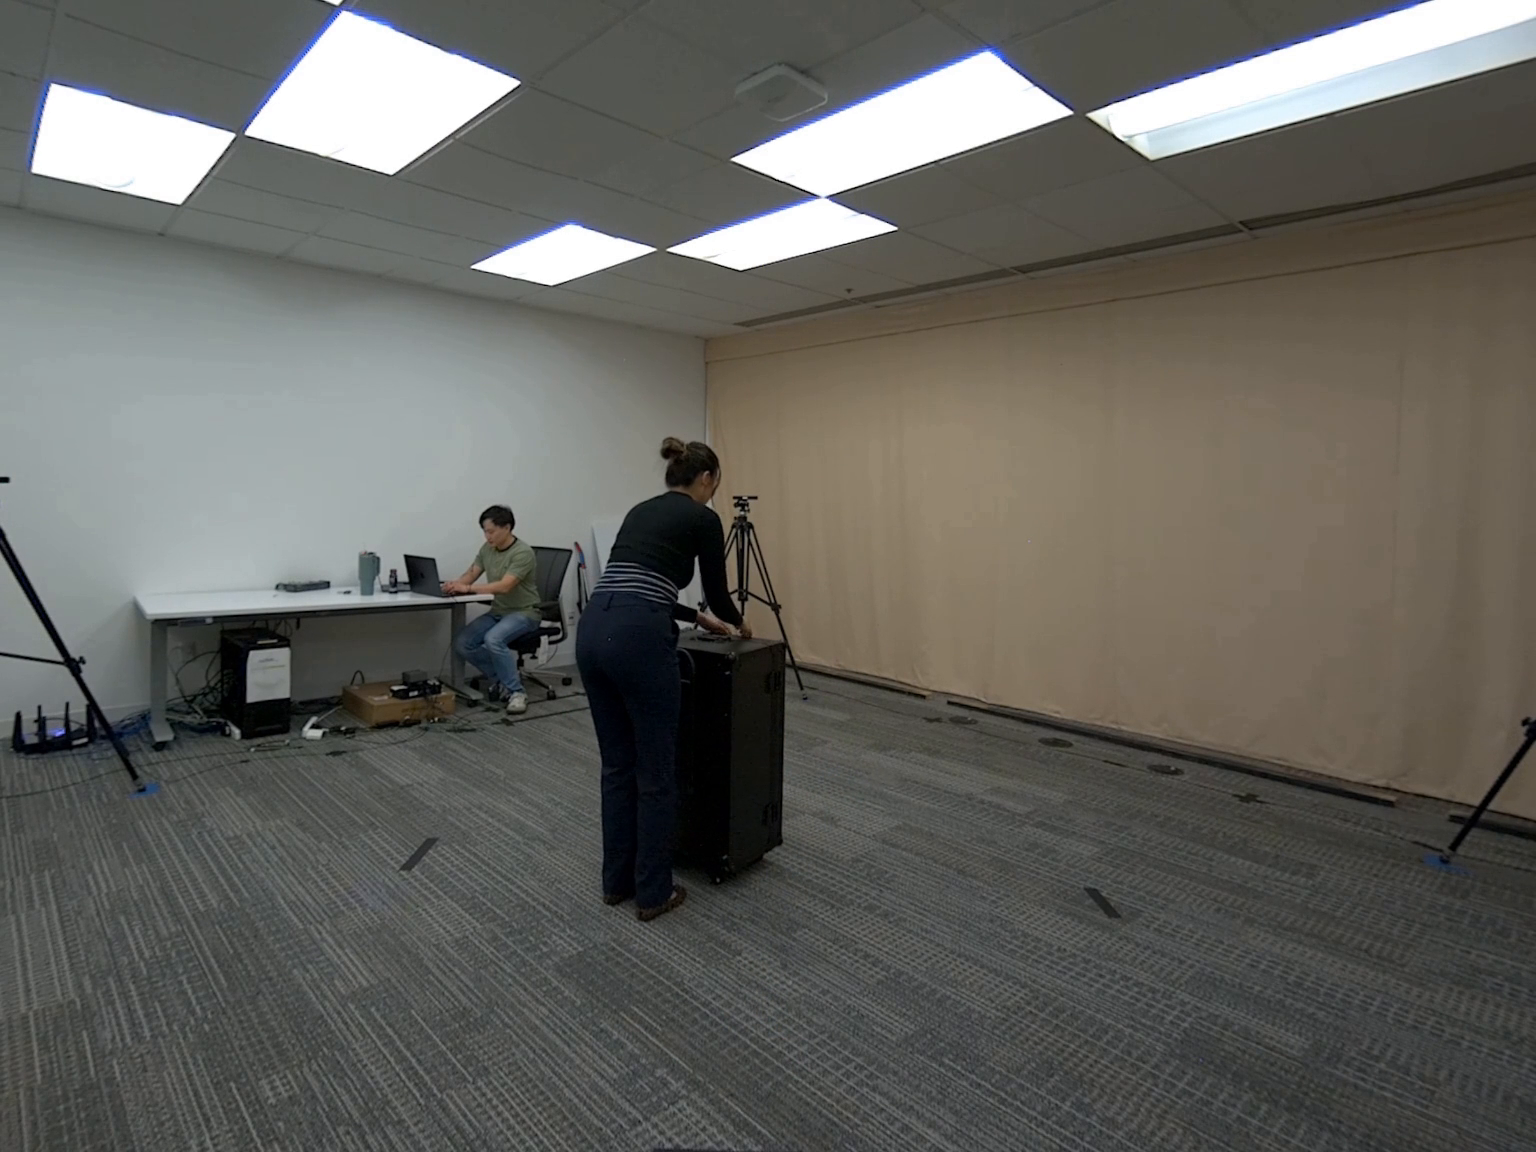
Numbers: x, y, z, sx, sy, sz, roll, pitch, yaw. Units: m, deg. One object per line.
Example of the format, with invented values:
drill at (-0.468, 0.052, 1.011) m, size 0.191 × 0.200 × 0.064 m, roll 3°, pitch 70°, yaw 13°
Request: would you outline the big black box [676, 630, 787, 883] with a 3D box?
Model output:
big black box at (-0.240, 0.668, 3.186) m, size 0.534 × 0.858 × 0.388 m, roll 4°, pitch 6°, yaw 35°
